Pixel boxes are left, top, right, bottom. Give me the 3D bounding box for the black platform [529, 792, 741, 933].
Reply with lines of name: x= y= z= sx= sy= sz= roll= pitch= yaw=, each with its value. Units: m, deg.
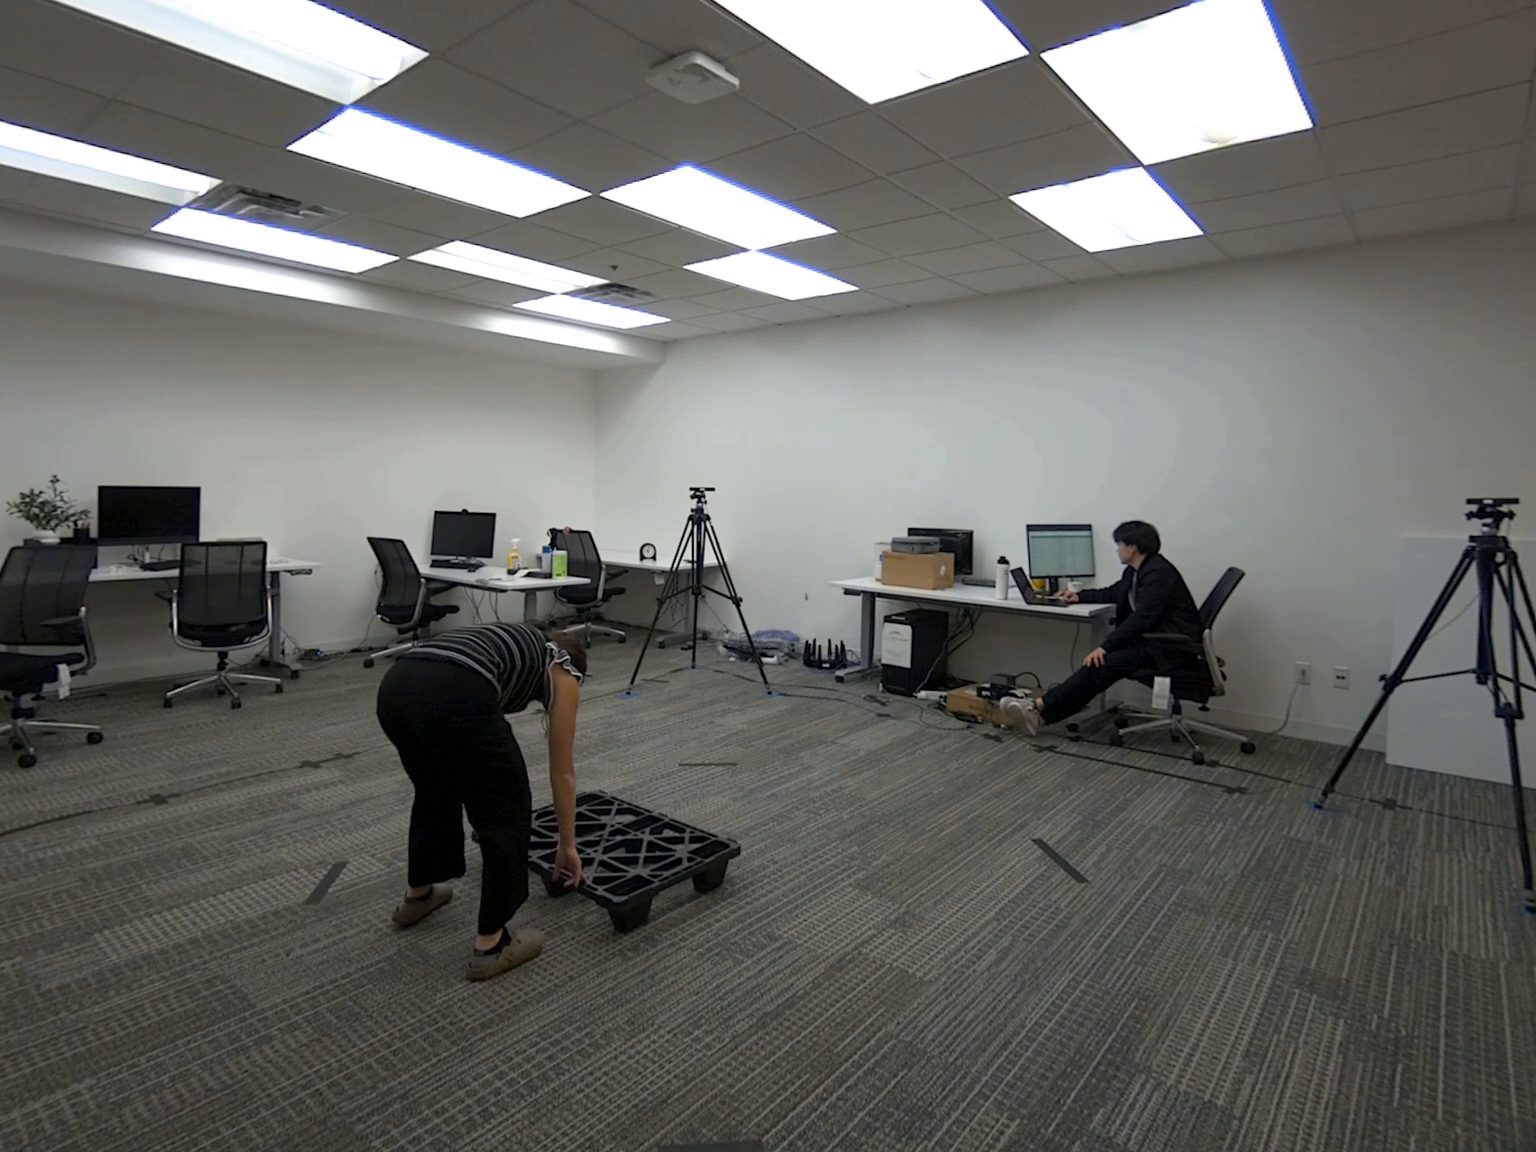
black platform: x=-0.593 y=0.998 z=3.054 sx=0.833 sy=0.143 sz=0.587 roll=6 pitch=7 yaw=40
